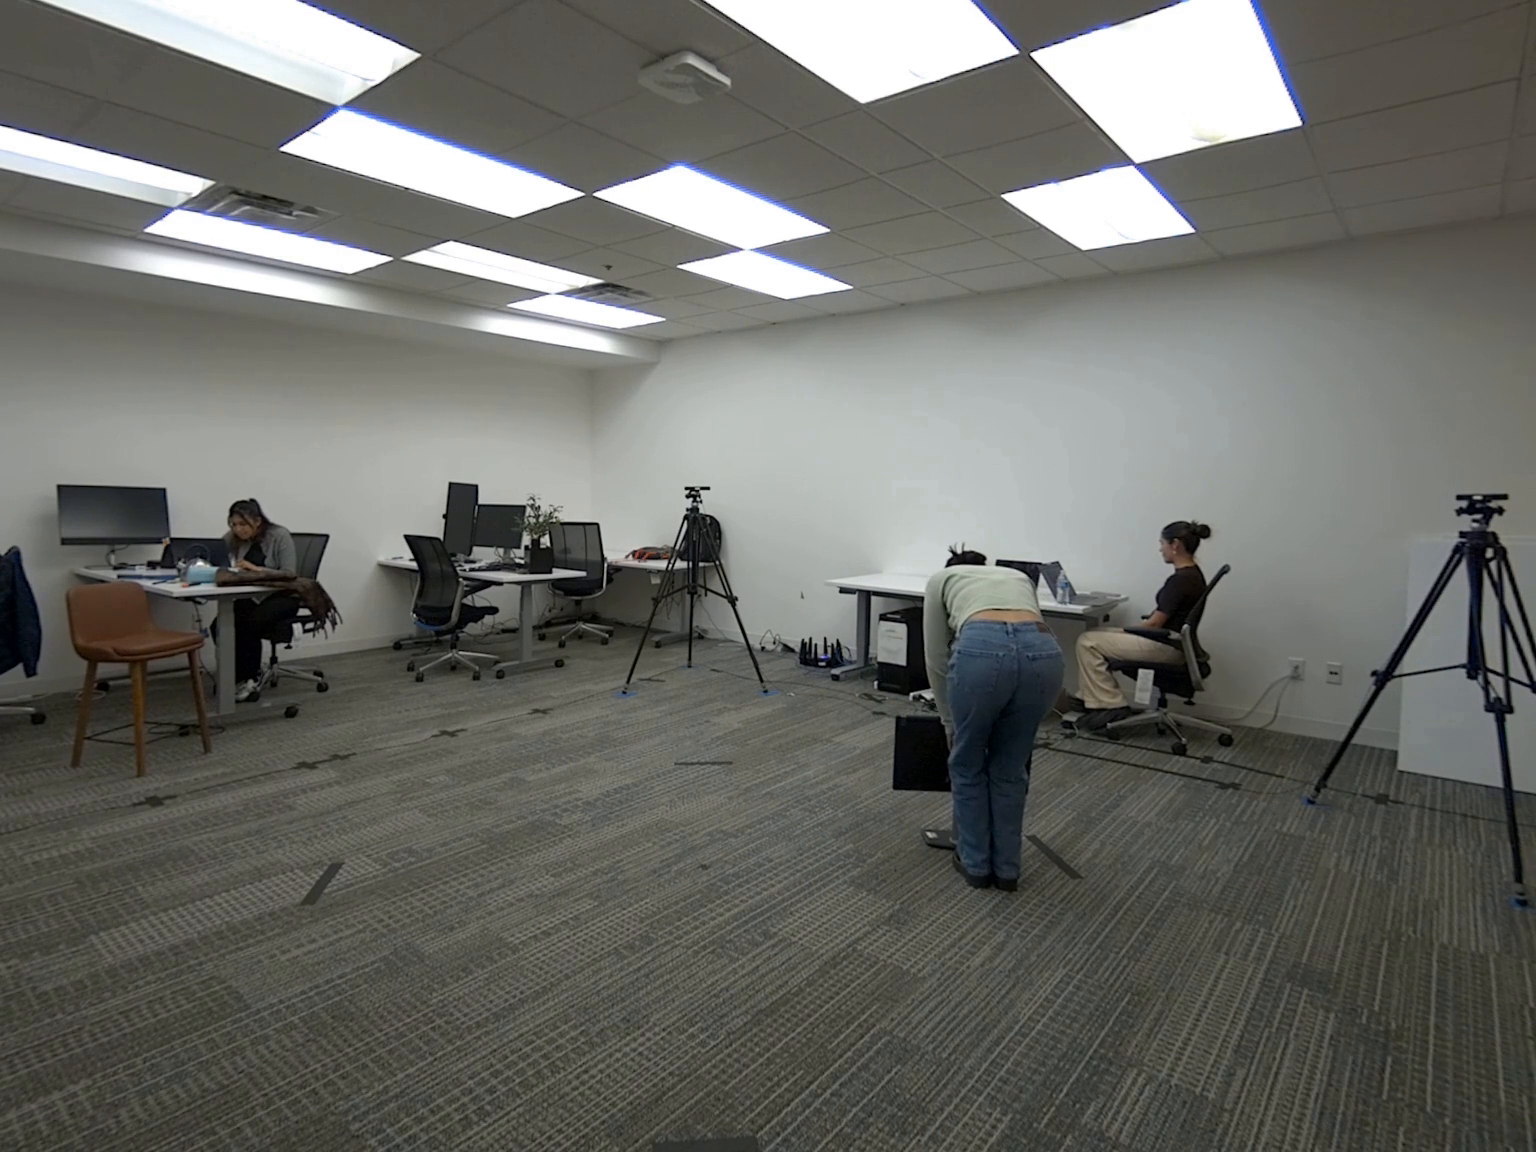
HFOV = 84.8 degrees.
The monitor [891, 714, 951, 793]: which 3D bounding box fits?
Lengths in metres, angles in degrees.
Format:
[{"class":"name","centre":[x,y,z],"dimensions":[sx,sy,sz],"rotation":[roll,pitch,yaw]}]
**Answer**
[{"class":"monitor","centre":[0.767,0.789,3.364],"dimensions":[0.533,0.515,0.174],"rotation":[0,2,6]}]
